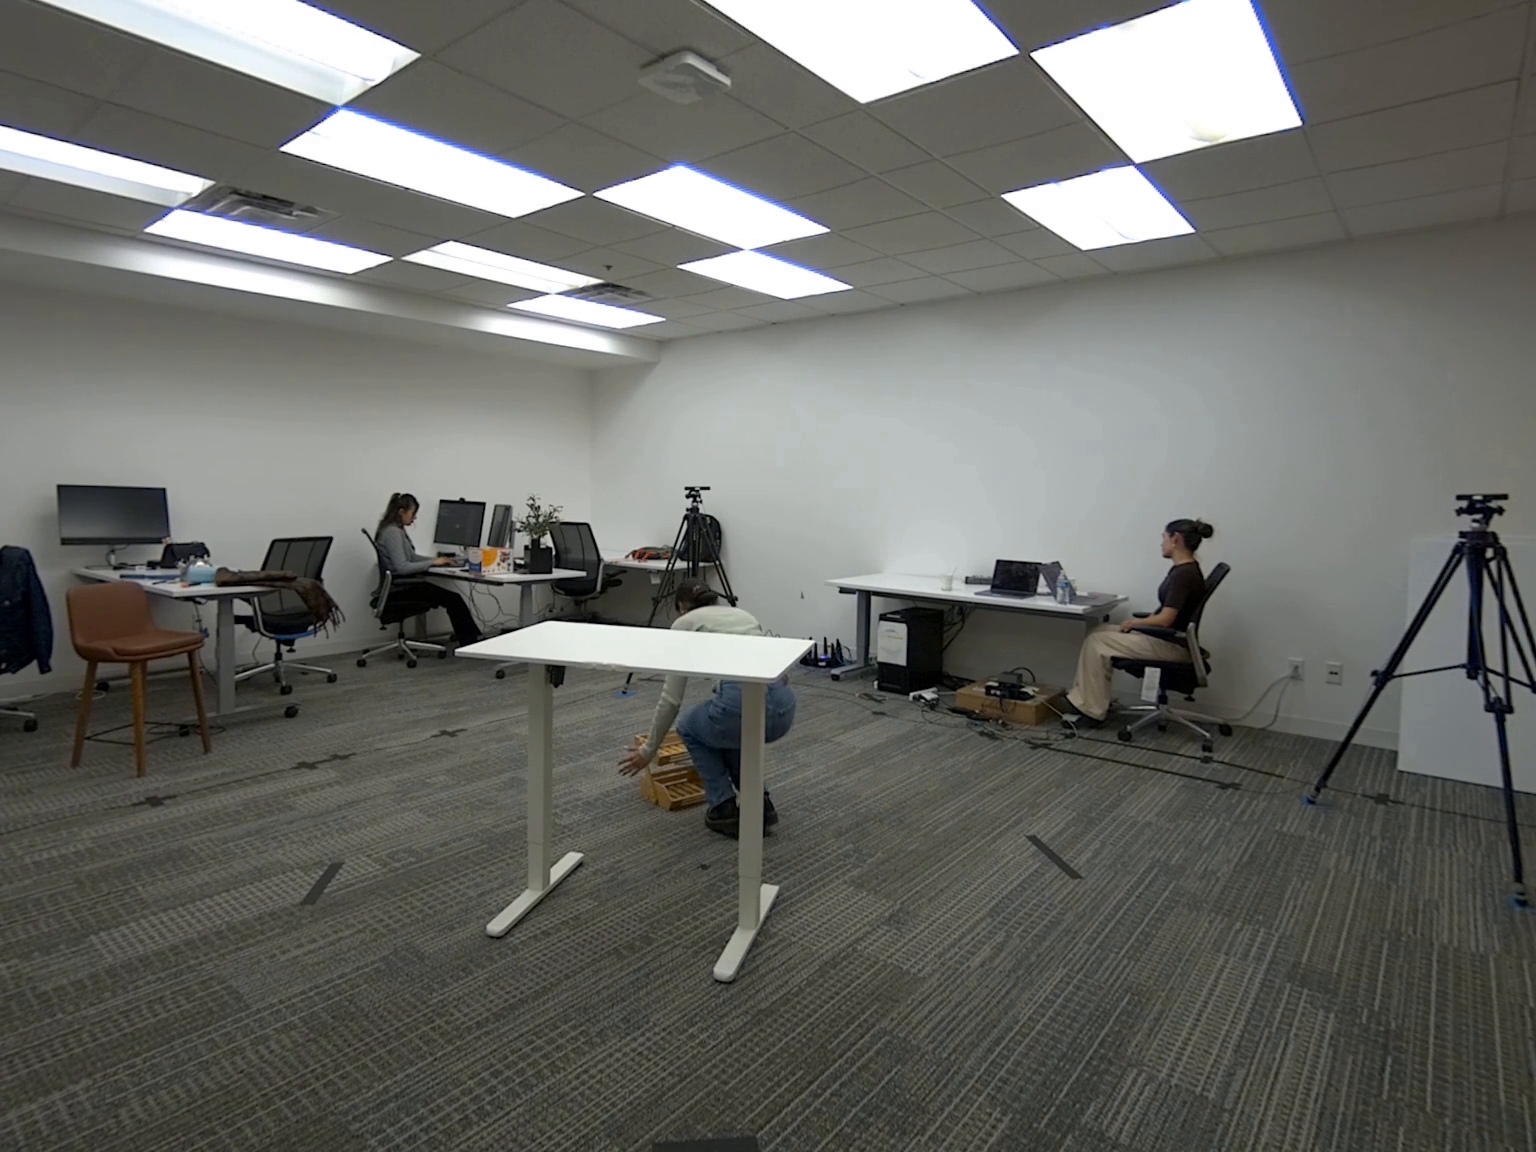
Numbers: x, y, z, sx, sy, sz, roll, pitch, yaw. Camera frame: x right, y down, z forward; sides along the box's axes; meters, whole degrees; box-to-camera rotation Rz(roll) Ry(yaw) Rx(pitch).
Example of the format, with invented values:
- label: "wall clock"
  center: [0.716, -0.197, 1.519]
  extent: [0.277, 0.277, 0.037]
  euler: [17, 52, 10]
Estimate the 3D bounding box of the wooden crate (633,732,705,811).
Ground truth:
- label: "wooden crate"
  center: [-0.408, 0.858, 3.850]
  extent: [0.315, 0.273, 0.312]
  euler: [-2, 4, -38]
